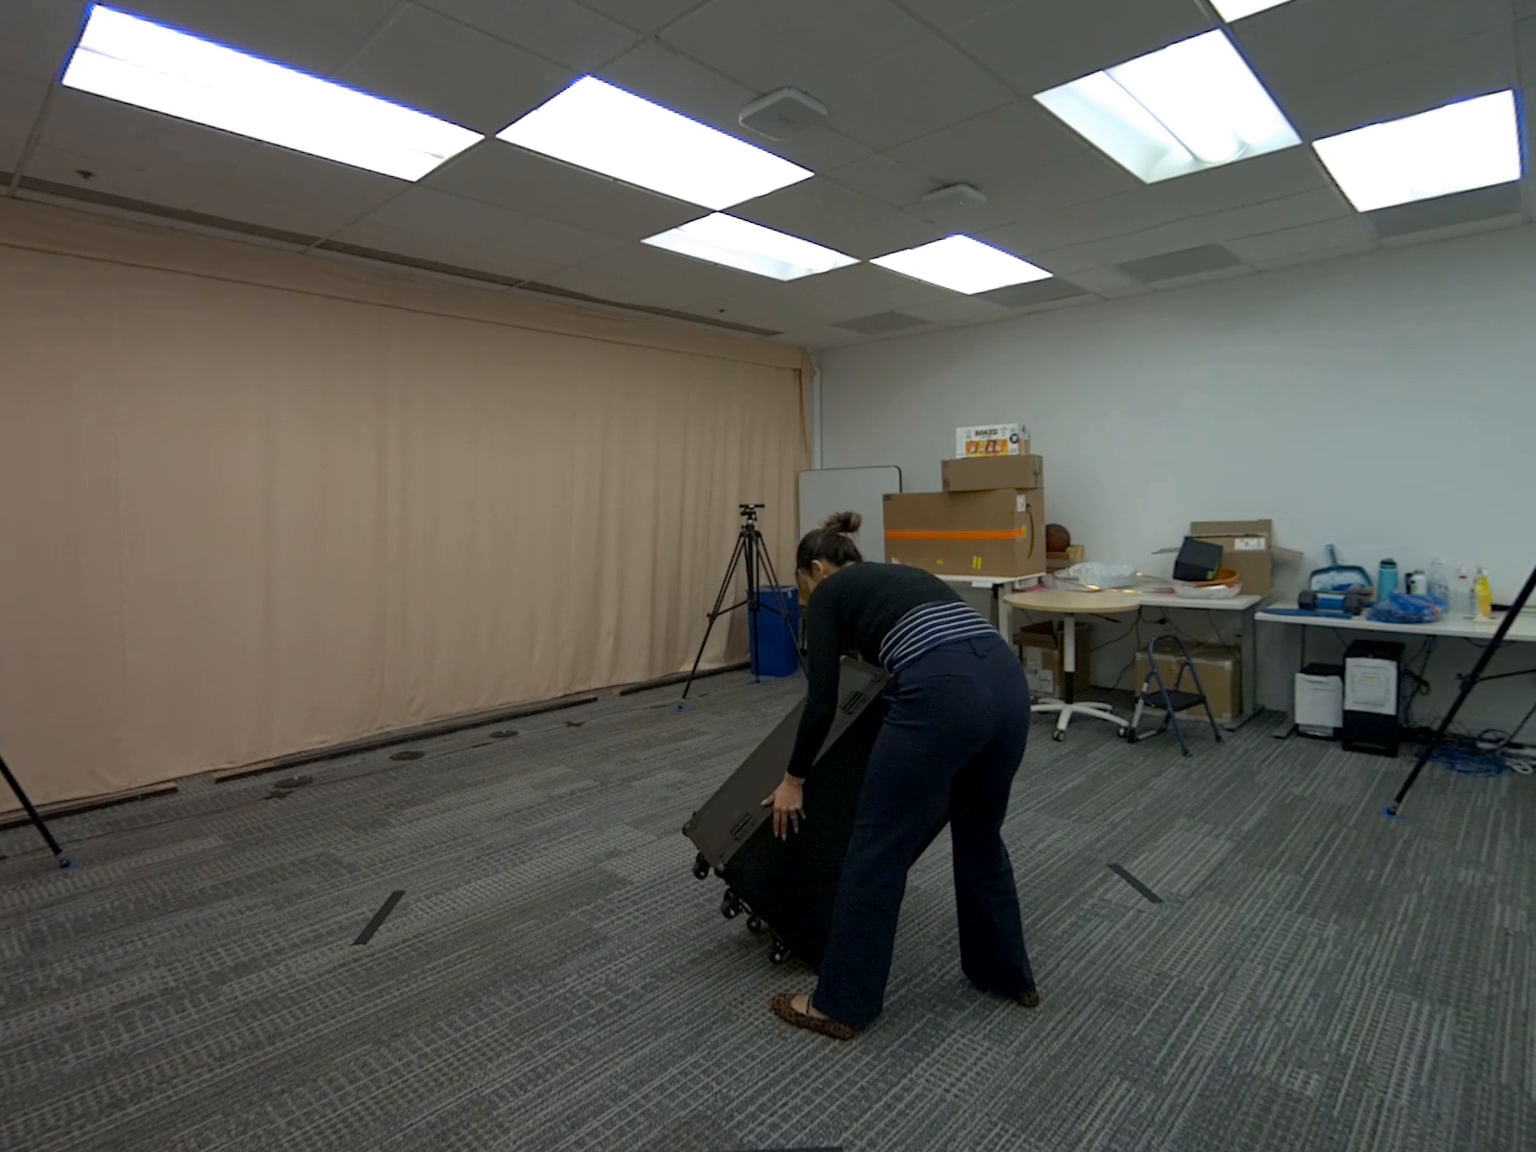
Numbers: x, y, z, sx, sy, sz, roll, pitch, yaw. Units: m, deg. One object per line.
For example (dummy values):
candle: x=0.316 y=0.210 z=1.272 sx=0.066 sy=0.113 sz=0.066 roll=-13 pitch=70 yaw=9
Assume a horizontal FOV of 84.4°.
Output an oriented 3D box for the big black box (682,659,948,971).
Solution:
big black box: x=0.175 y=0.751 z=2.675 sx=0.858 sy=0.512 sz=0.405 roll=-46 pitch=16 yaw=-14
